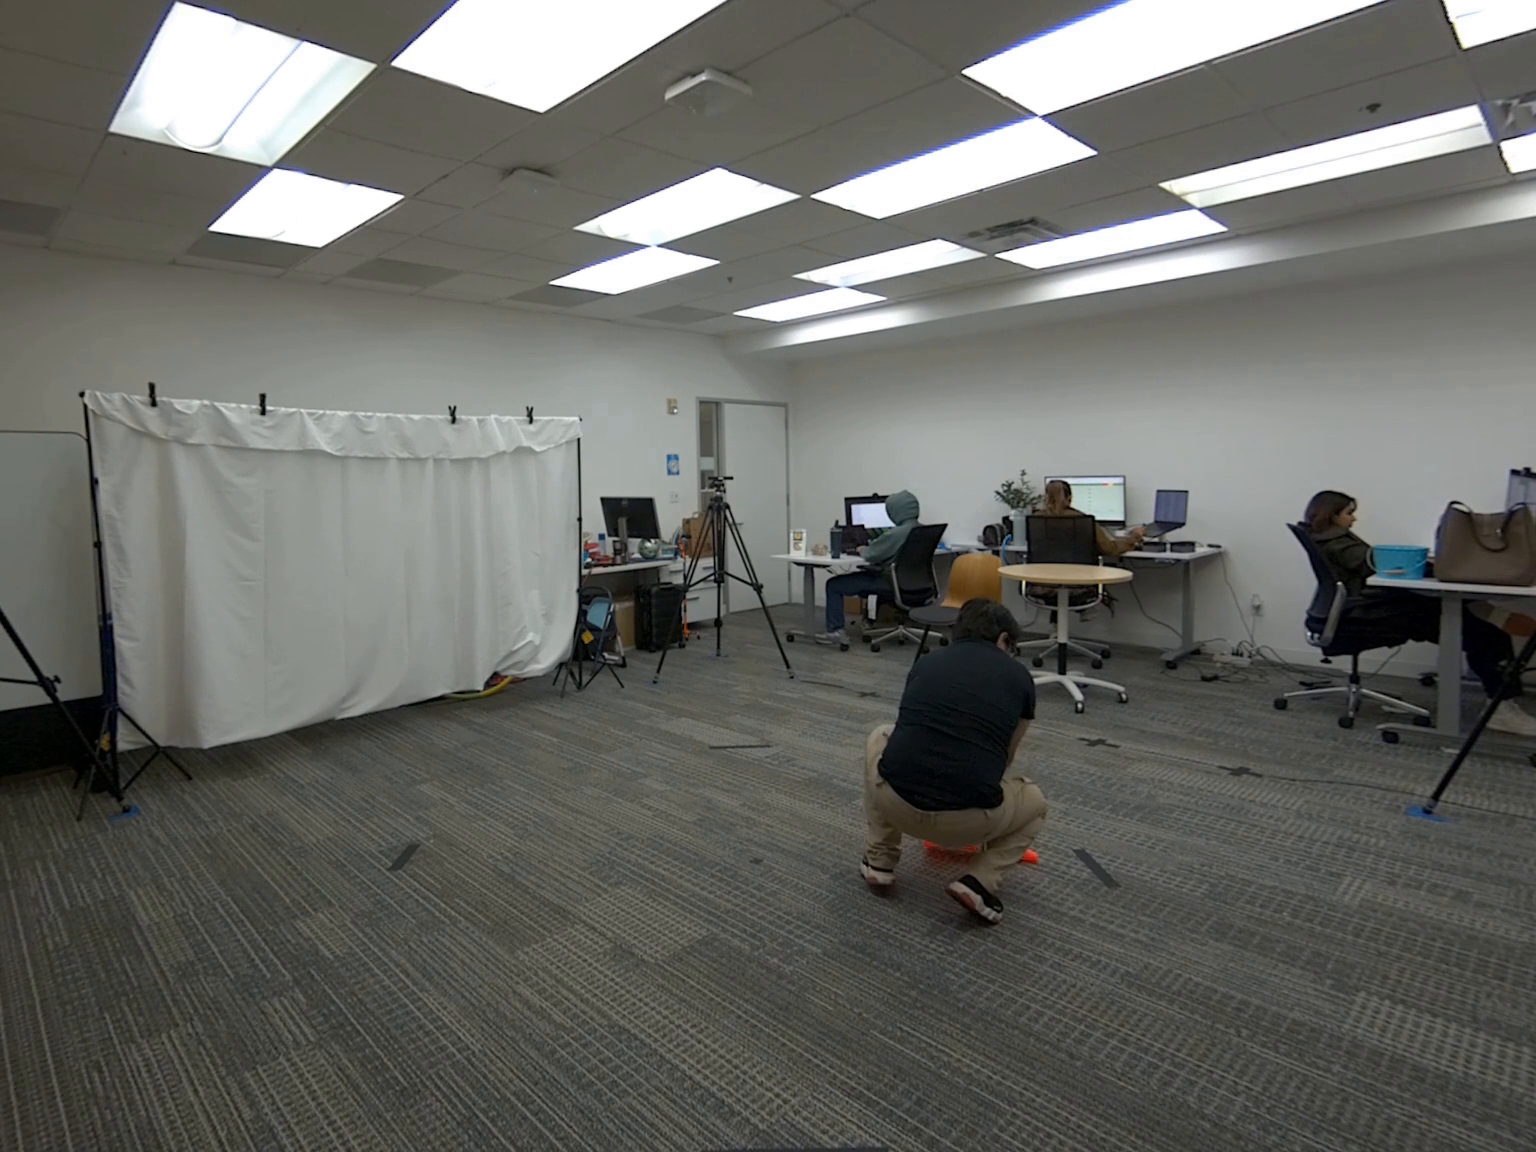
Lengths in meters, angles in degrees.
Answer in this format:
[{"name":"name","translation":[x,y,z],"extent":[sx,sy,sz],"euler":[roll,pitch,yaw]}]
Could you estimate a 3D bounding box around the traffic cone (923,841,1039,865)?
[{"name":"traffic cone","translation":[0.802,0.965,3.110],"extent":[0.392,0.206,0.198],"euler":[14,-8,19]}]
